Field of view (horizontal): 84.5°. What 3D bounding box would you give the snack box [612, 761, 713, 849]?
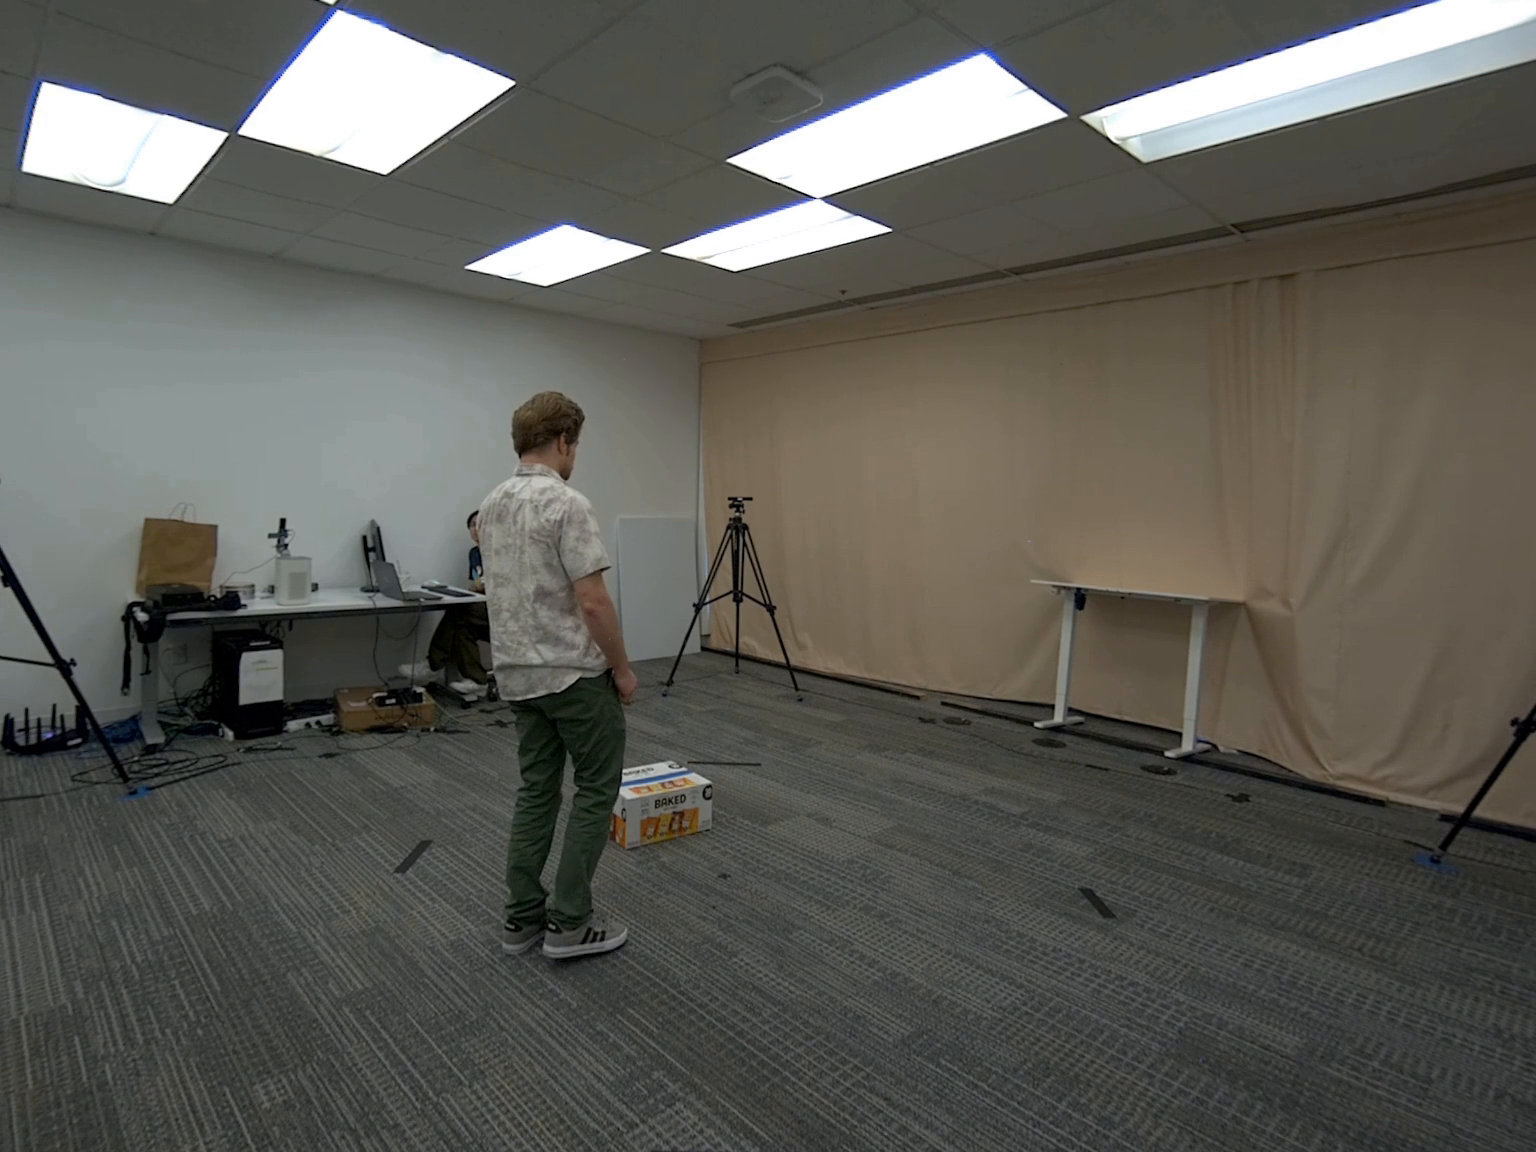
[{"bbox_3d":[-0.506,0.958,3.558,0.396,0.205,0.349,-2,6,-36],"label":"snack box"}]
